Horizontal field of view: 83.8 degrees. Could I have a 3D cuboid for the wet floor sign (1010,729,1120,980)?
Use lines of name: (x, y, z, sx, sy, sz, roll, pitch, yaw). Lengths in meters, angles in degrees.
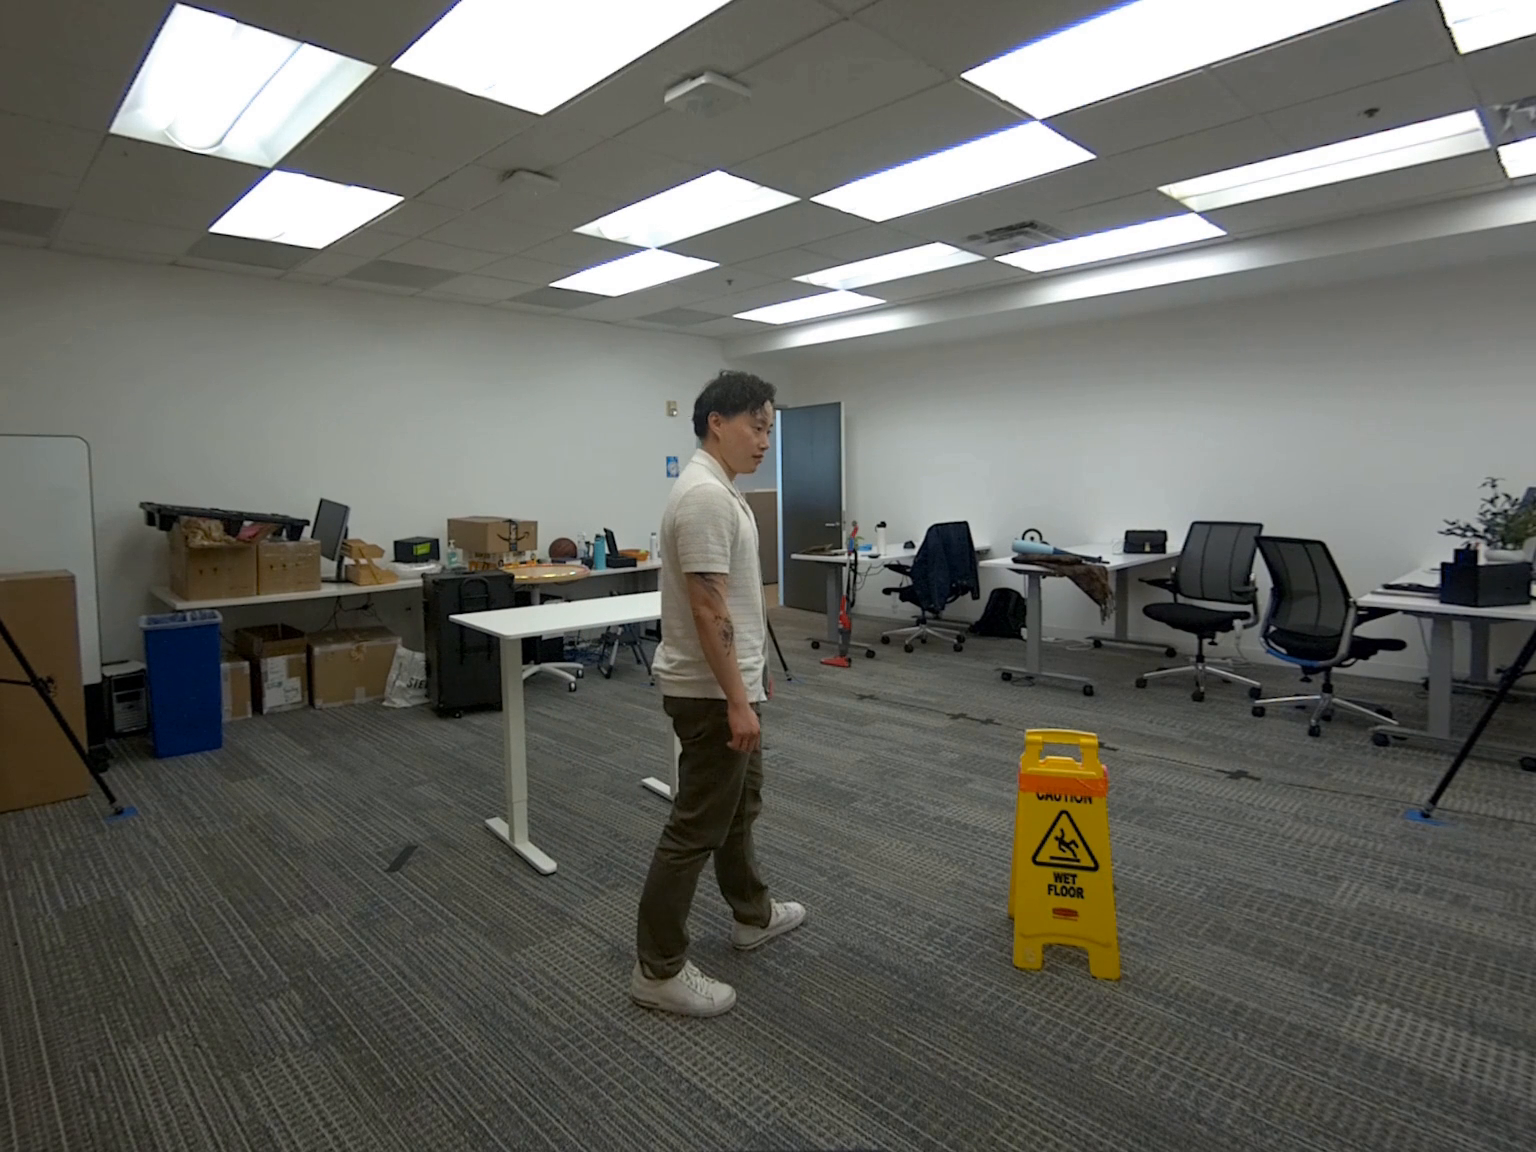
wet floor sign: (0.861, 0.767, 2.501, 0.286, 0.644, 0.286, -1, 3, 14)
